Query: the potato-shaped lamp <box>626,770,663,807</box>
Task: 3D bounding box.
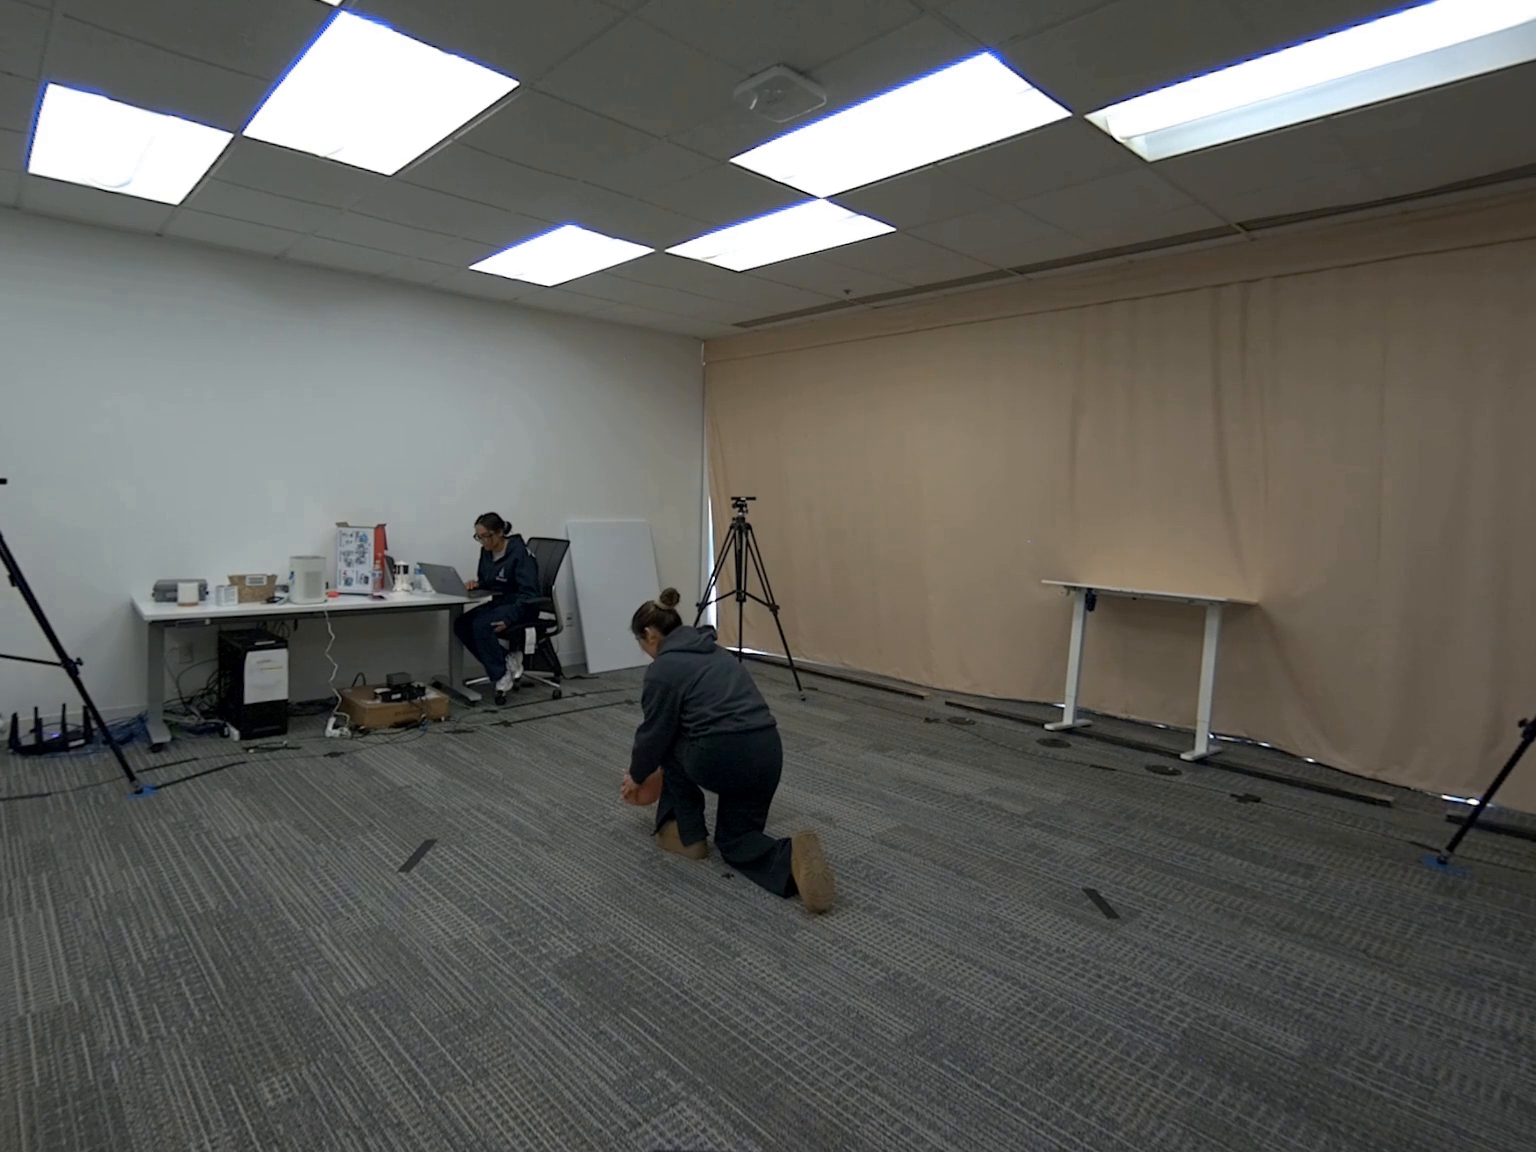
[{"bbox_3d":[-0.539,0.860,3.555,0.176,0.197,0.161,10,8,44],"label":"potato-shaped lamp"}]
